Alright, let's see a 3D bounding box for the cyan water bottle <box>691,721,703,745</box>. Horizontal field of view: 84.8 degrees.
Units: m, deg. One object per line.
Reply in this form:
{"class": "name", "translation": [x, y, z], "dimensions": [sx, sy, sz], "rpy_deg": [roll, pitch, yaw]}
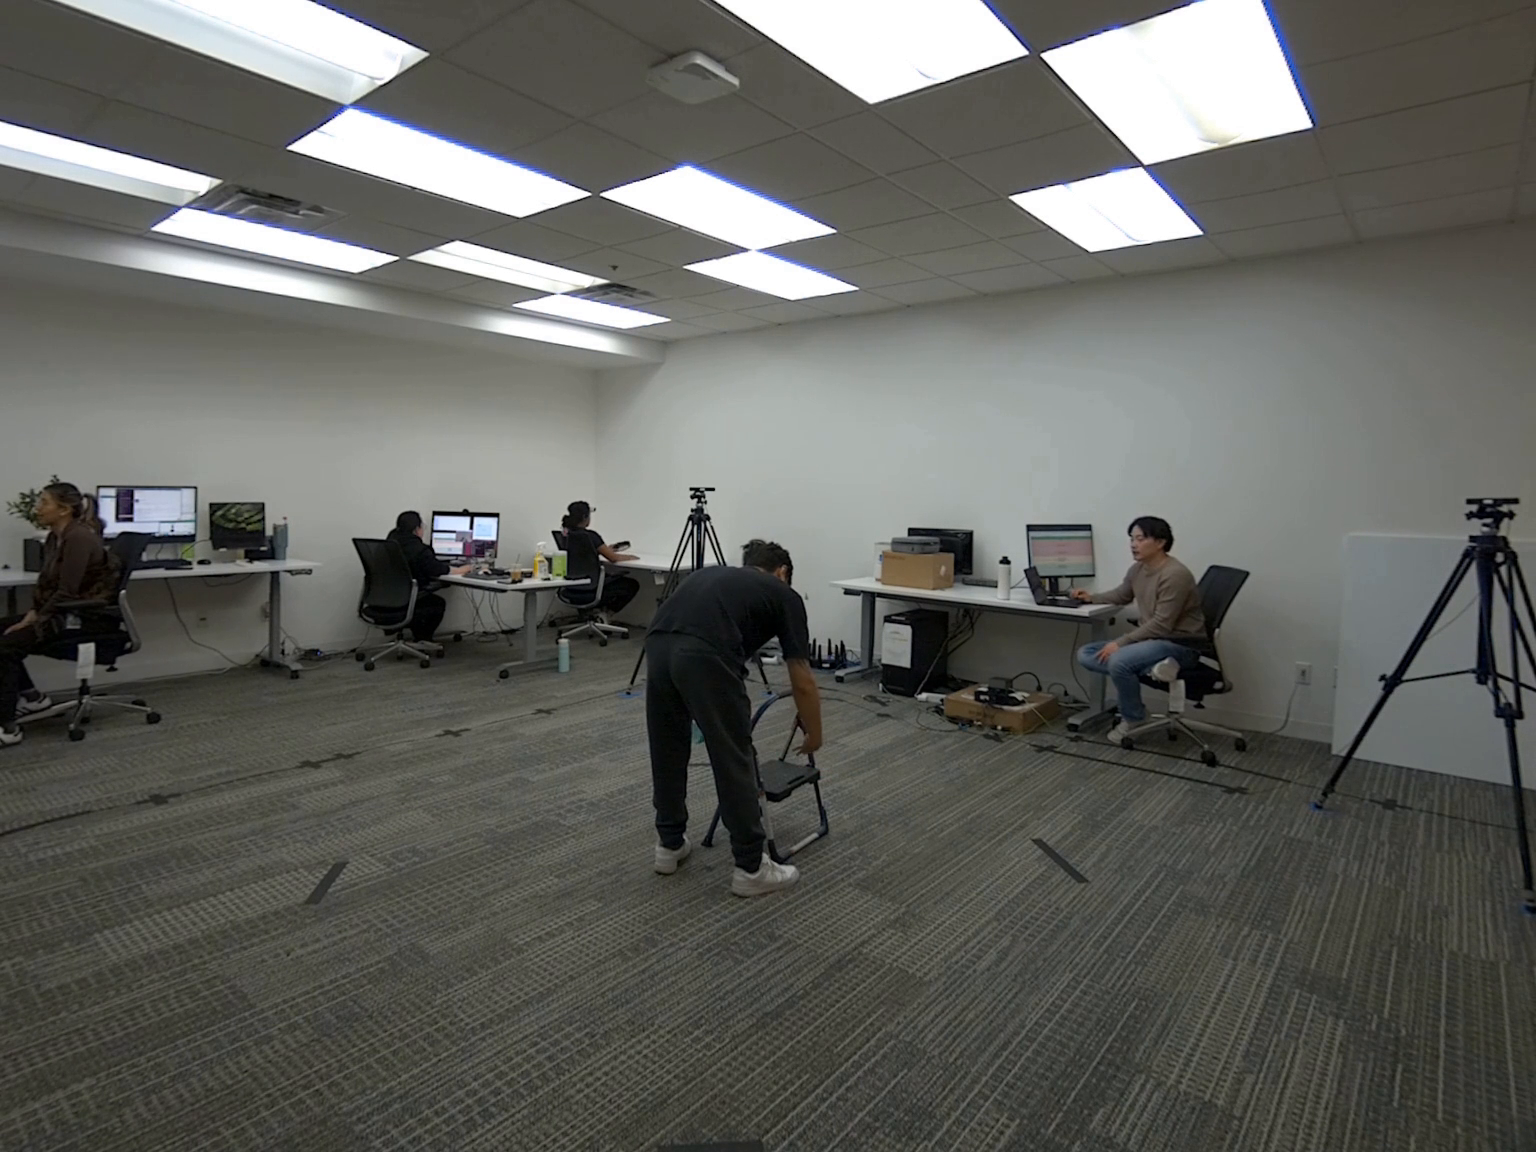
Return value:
{"class": "cyan water bottle", "translation": [-0.204, 0.602, 3.458], "dimensions": [0.095, 0.092, 0.275], "rpy_deg": [5, 6, 44]}
